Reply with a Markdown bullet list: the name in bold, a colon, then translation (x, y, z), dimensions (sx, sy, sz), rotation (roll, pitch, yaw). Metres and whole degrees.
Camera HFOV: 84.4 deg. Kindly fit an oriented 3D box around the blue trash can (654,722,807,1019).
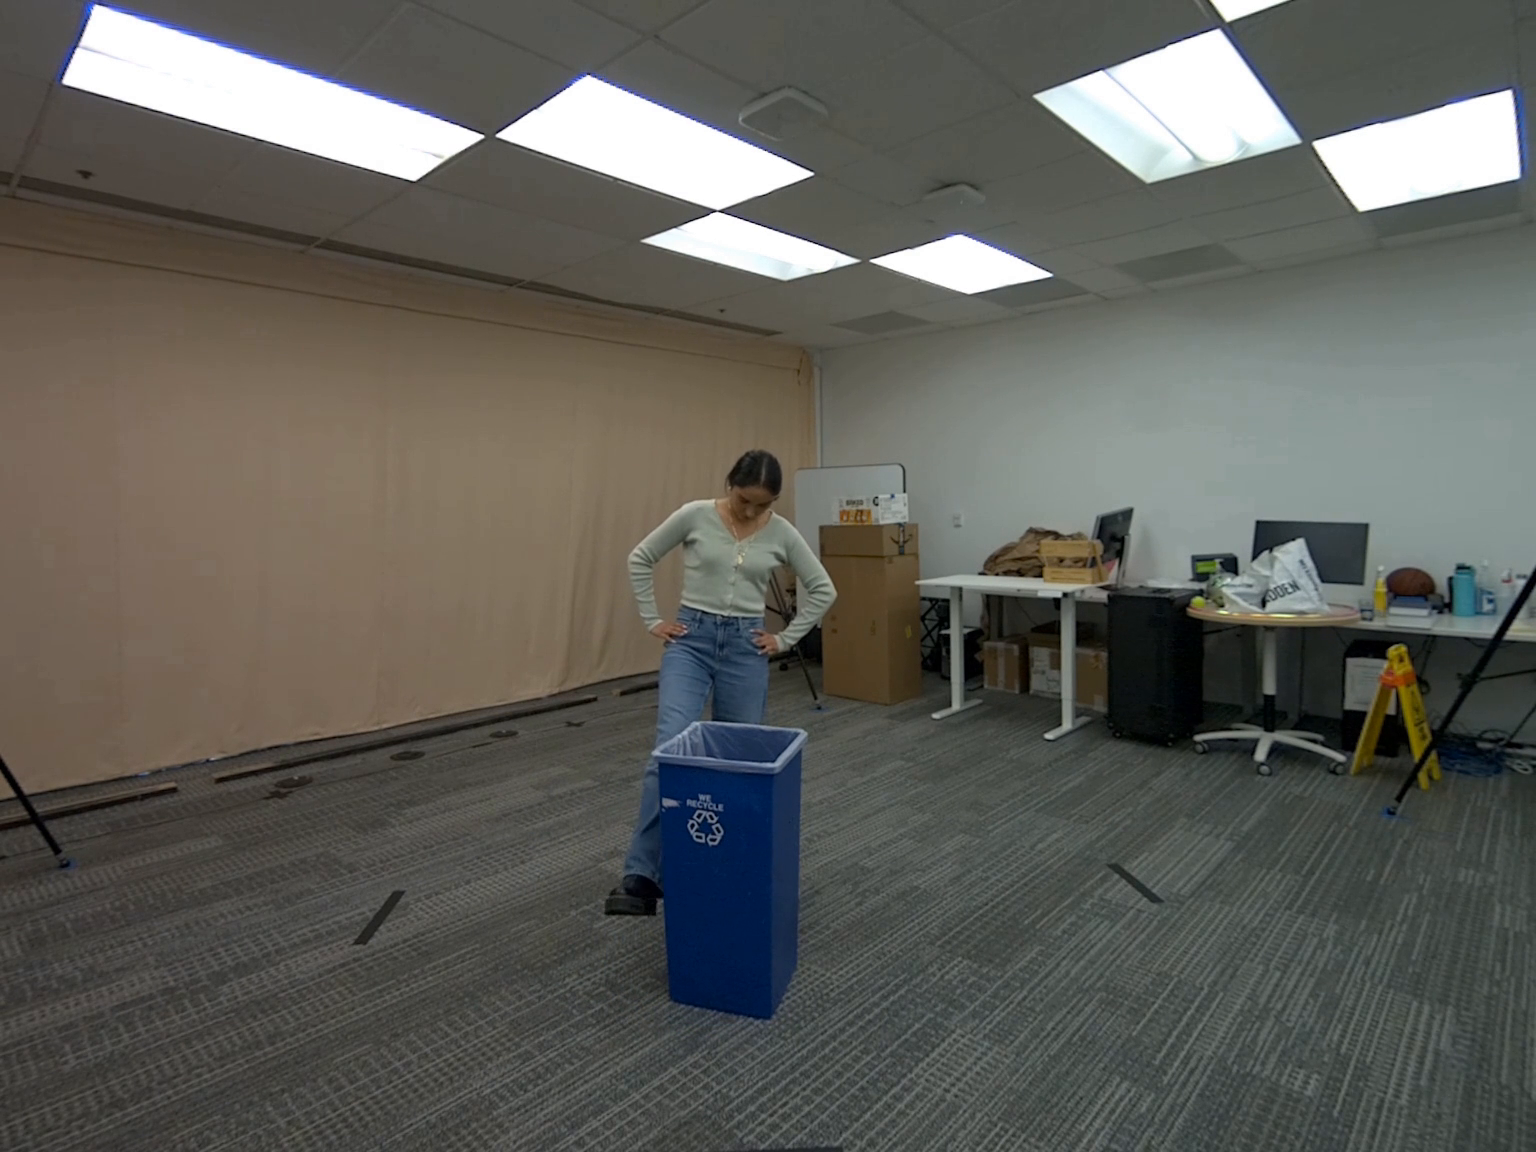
- **blue trash can**: translation (-0.093, 0.829, 2.433), dimensions (0.386, 0.712, 0.367), rotation (1, 3, 19)
